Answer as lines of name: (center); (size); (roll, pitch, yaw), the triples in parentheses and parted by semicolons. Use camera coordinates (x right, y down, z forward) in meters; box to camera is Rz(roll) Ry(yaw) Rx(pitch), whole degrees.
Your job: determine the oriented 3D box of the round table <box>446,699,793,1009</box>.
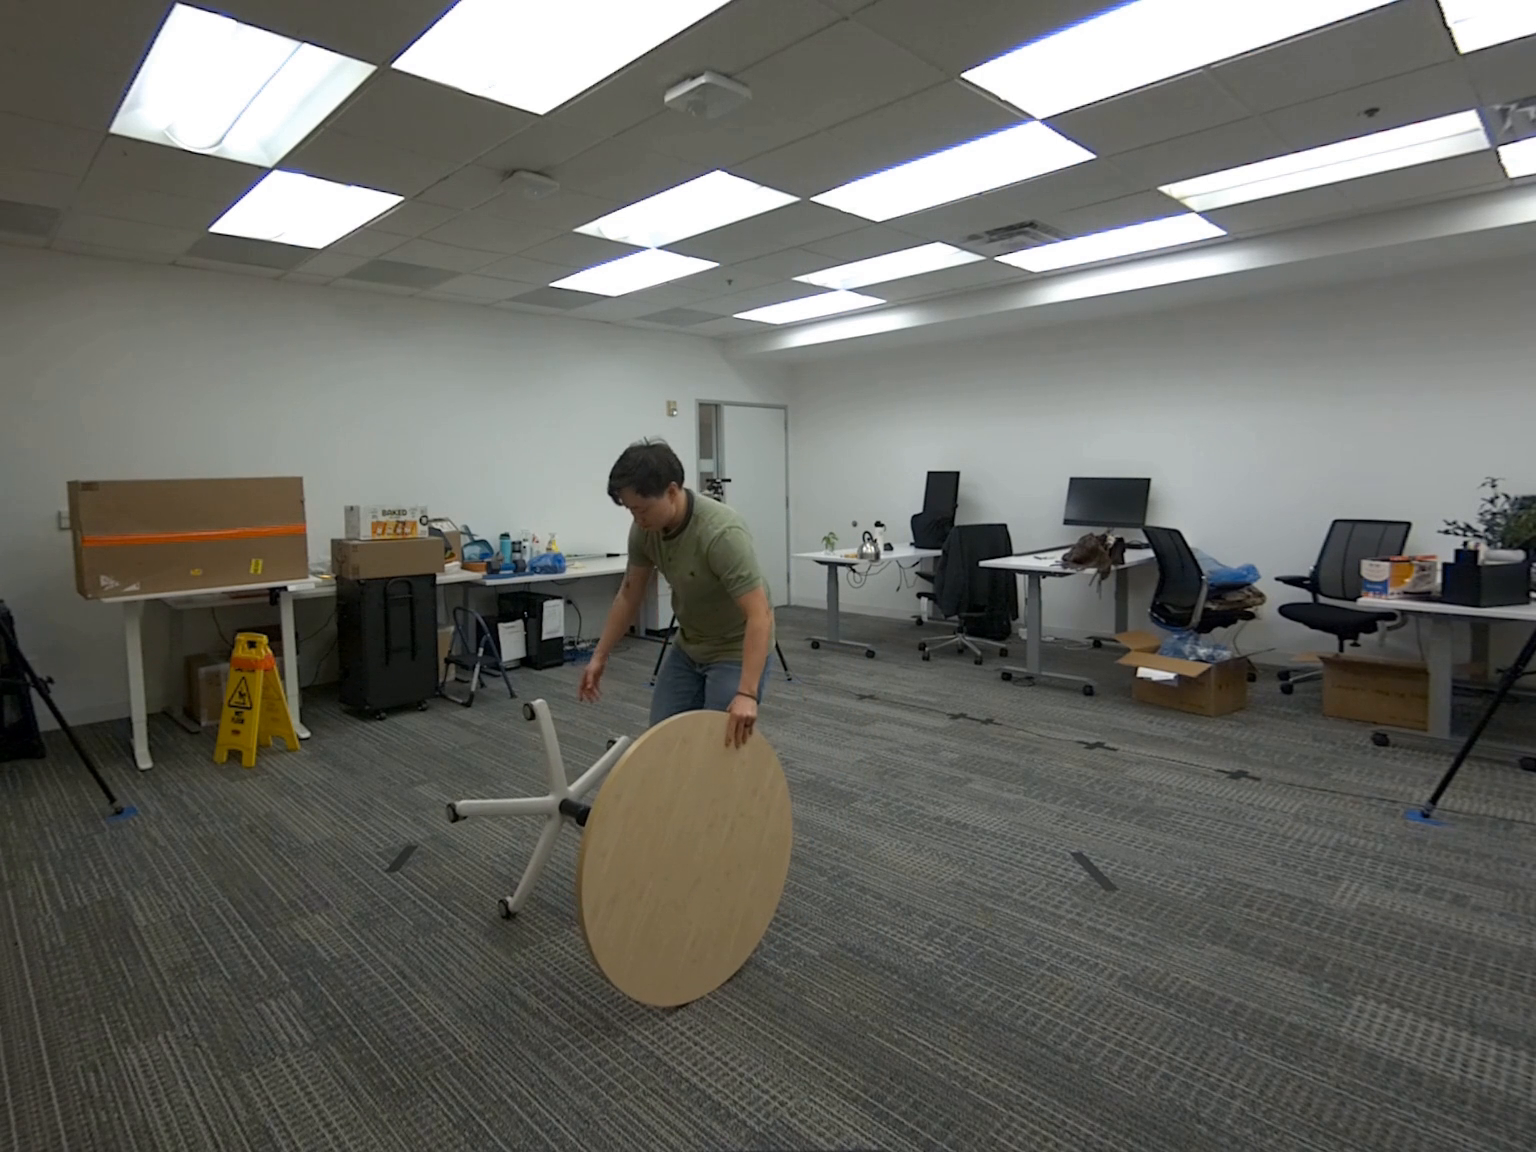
round table: (-0.477, 0.761, 2.607); (0.816, 0.763, 0.744); (-2, 2, 45)
